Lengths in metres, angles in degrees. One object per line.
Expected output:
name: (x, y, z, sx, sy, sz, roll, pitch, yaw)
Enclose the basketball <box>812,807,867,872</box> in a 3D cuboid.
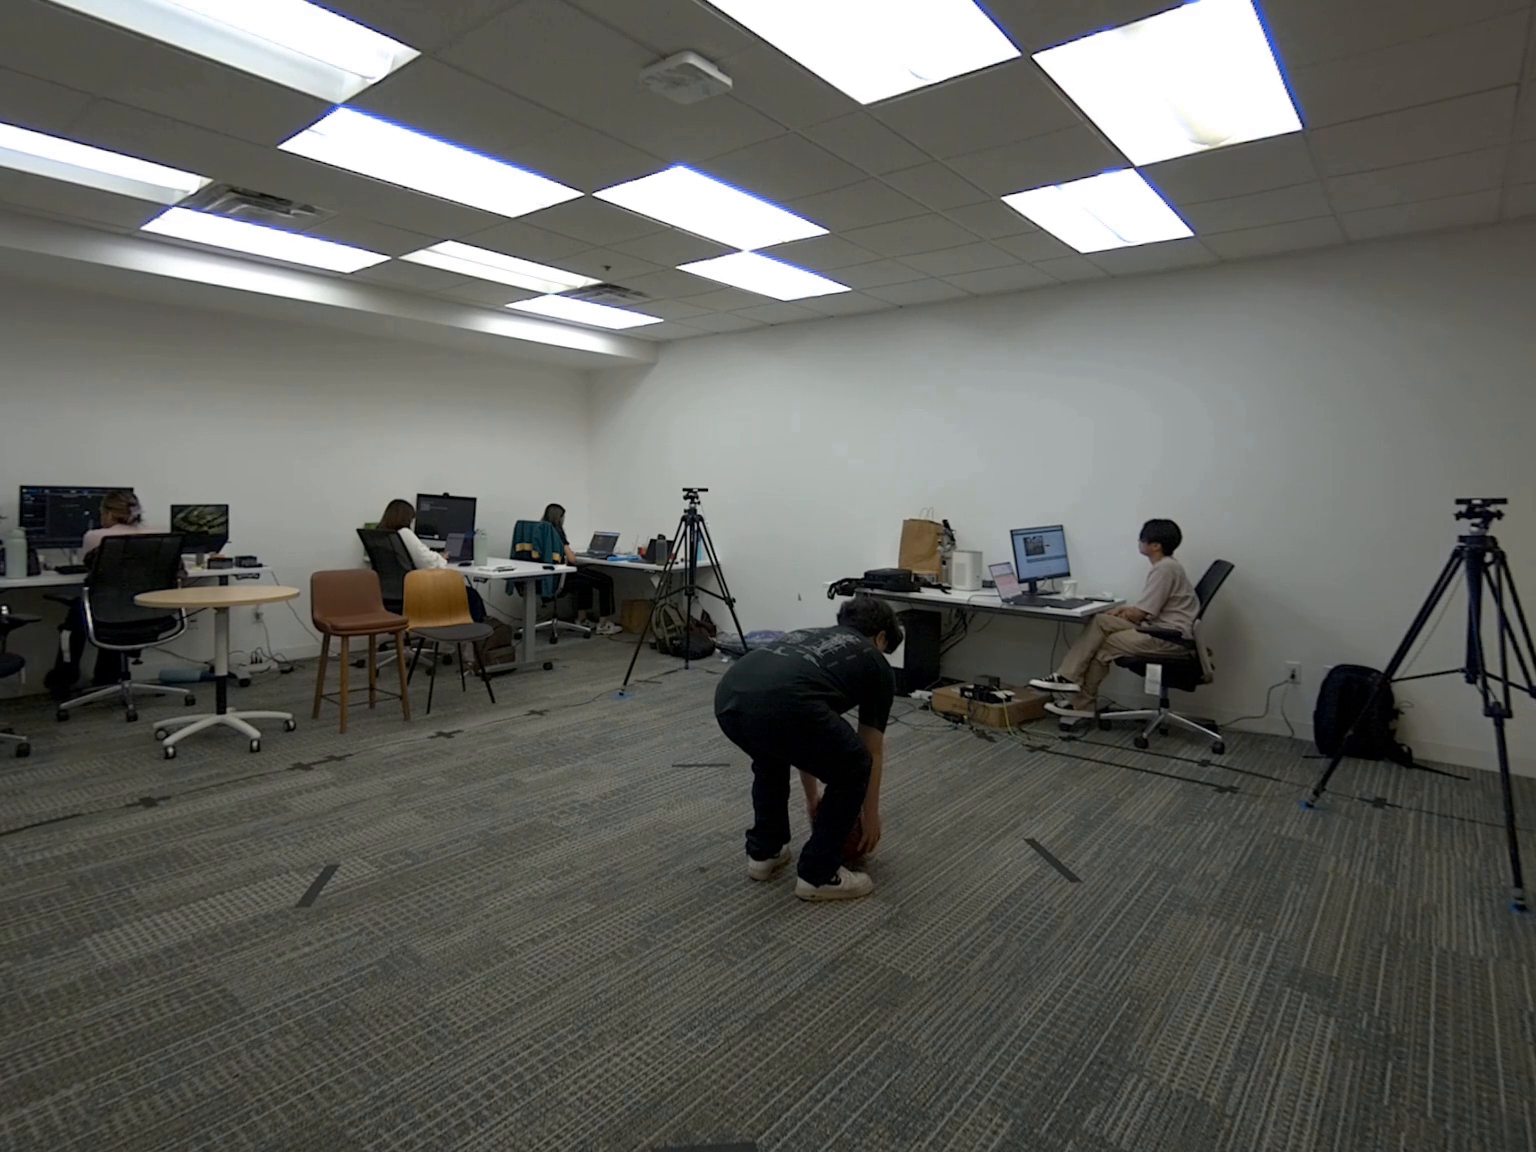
basketball: (0.286, 0.945, 3.220, 0.235, 0.235, 0.237, 1, 4, -2)
